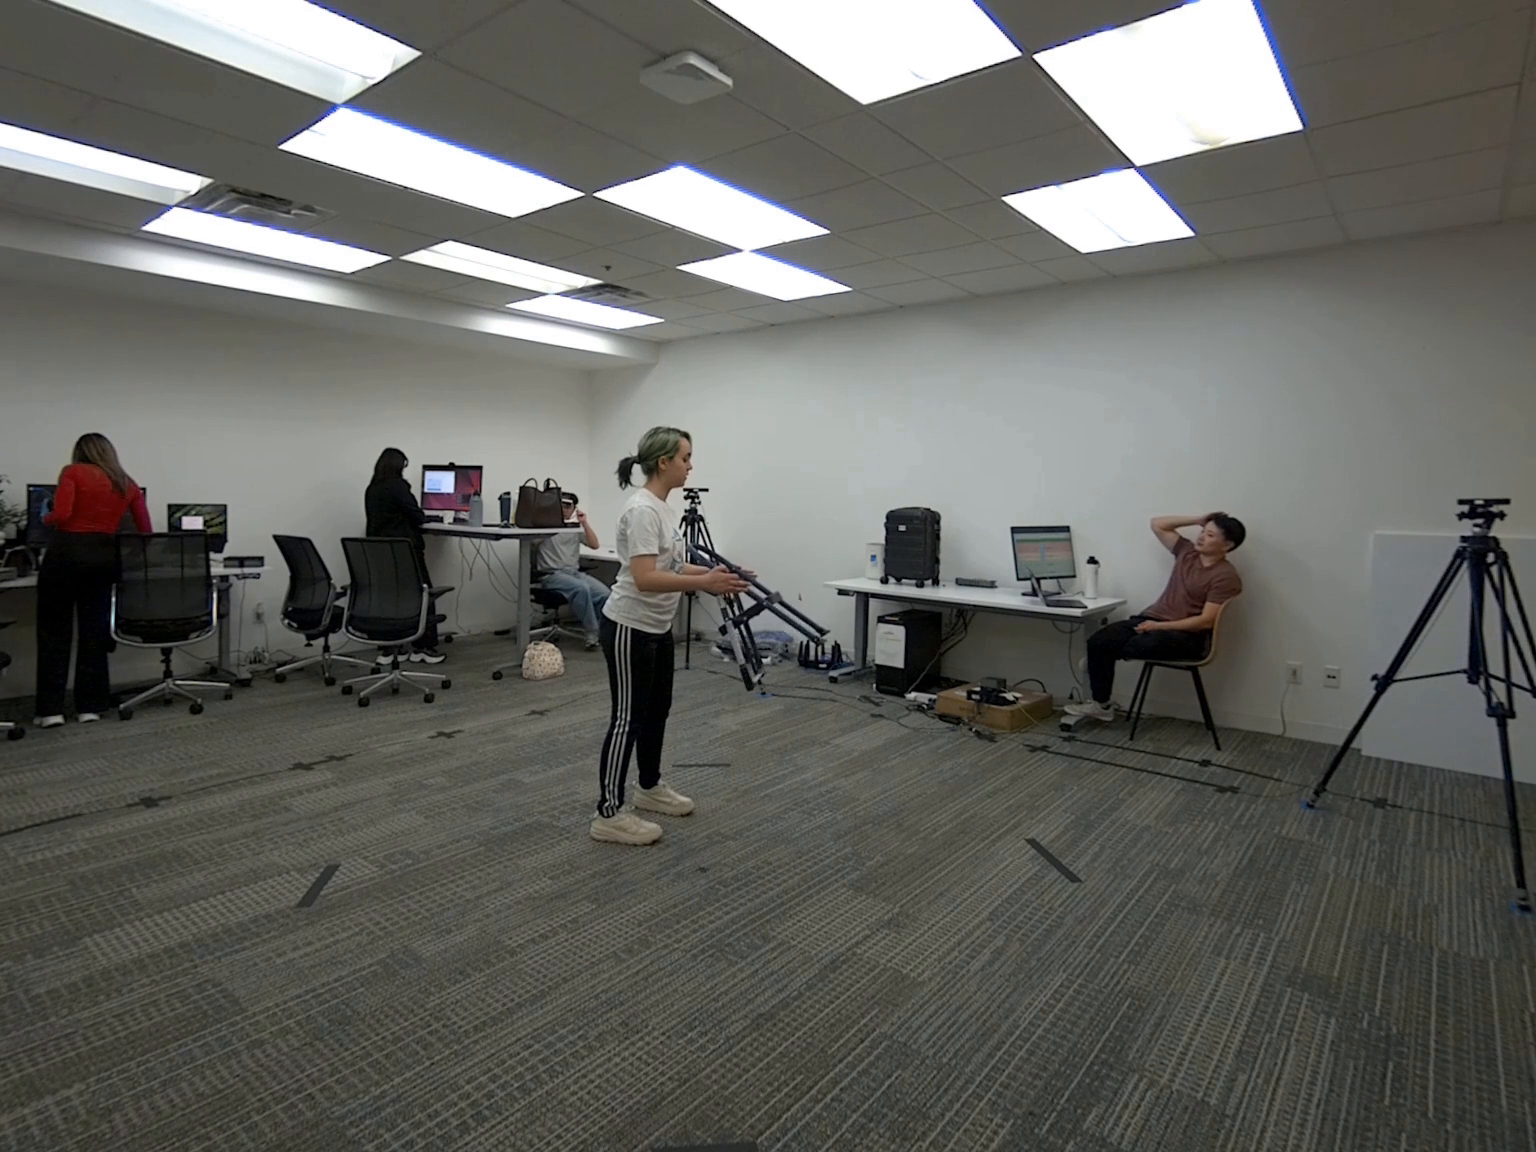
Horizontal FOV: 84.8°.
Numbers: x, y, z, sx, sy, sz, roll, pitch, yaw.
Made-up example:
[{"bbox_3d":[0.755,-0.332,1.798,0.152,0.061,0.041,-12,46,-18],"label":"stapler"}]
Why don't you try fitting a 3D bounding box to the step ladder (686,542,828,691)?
[{"bbox_3d":[-0.084,0.086,3.383,0.350,0.611,0.426,-34,-4,7],"label":"step ladder"}]
